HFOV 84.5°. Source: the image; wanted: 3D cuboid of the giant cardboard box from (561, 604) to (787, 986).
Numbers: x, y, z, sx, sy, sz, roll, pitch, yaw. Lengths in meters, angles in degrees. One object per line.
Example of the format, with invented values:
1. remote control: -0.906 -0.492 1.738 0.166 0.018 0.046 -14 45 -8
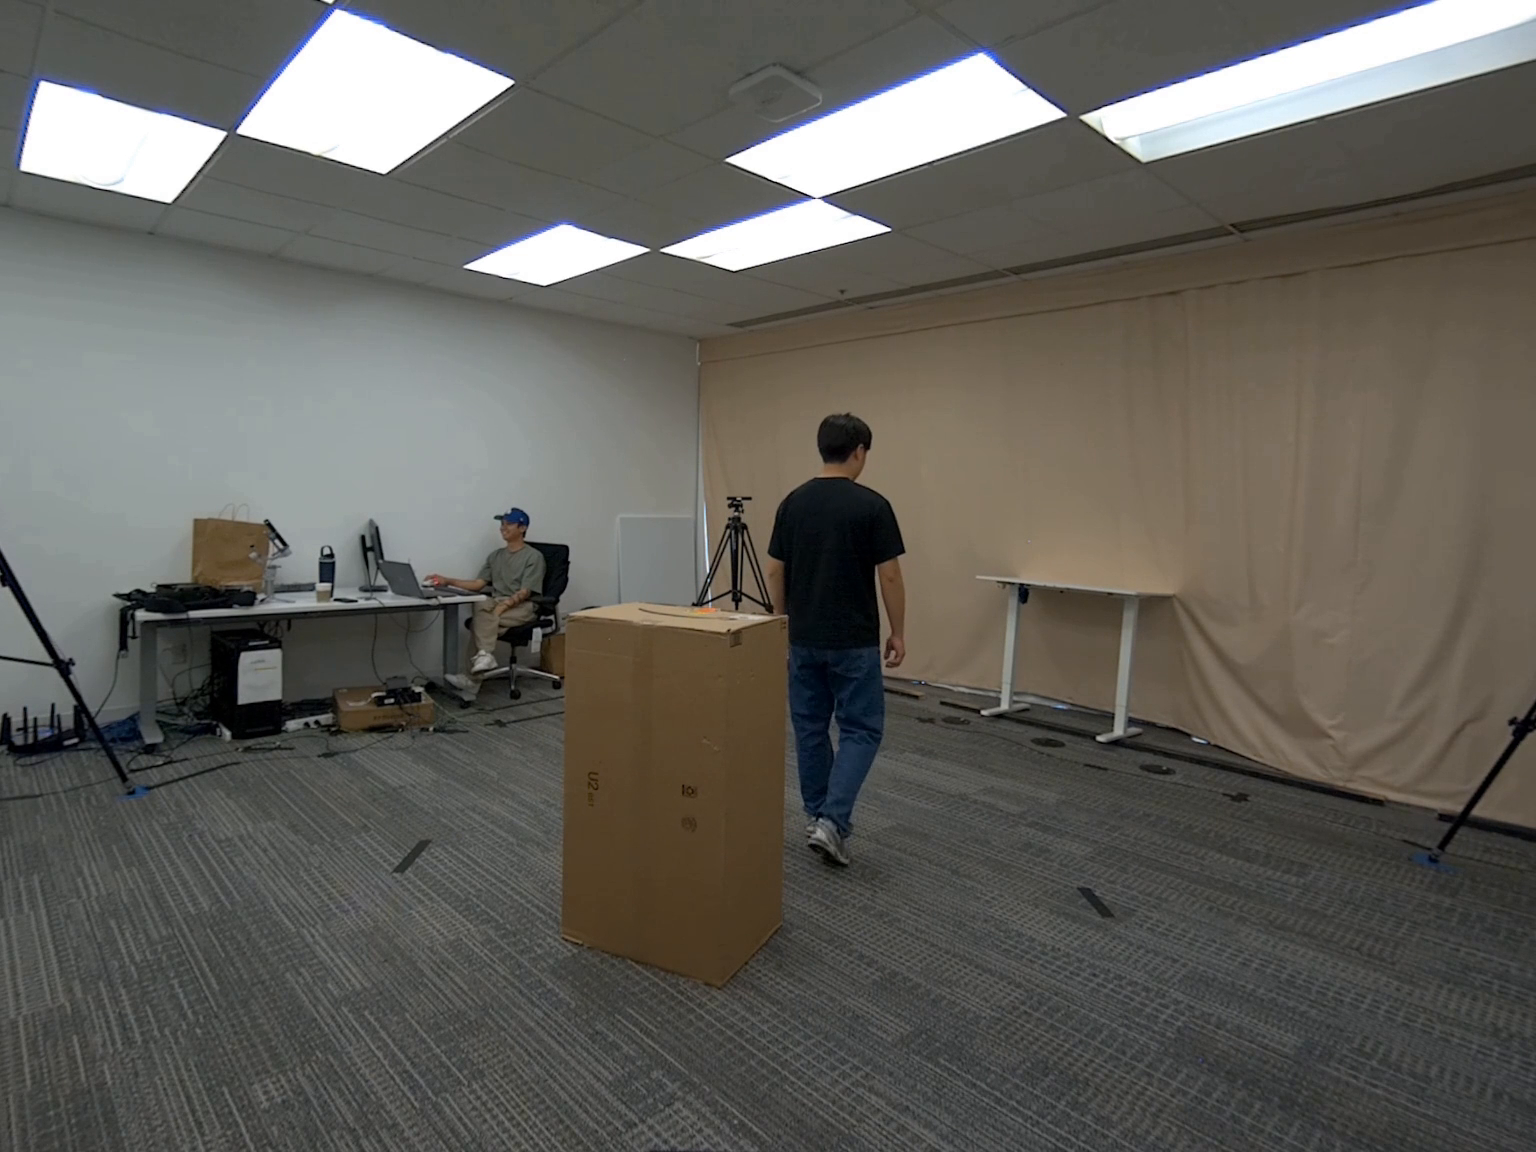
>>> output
1. giant cardboard box: -0.294 0.631 2.678 0.596 1.025 0.438 3 2 28
